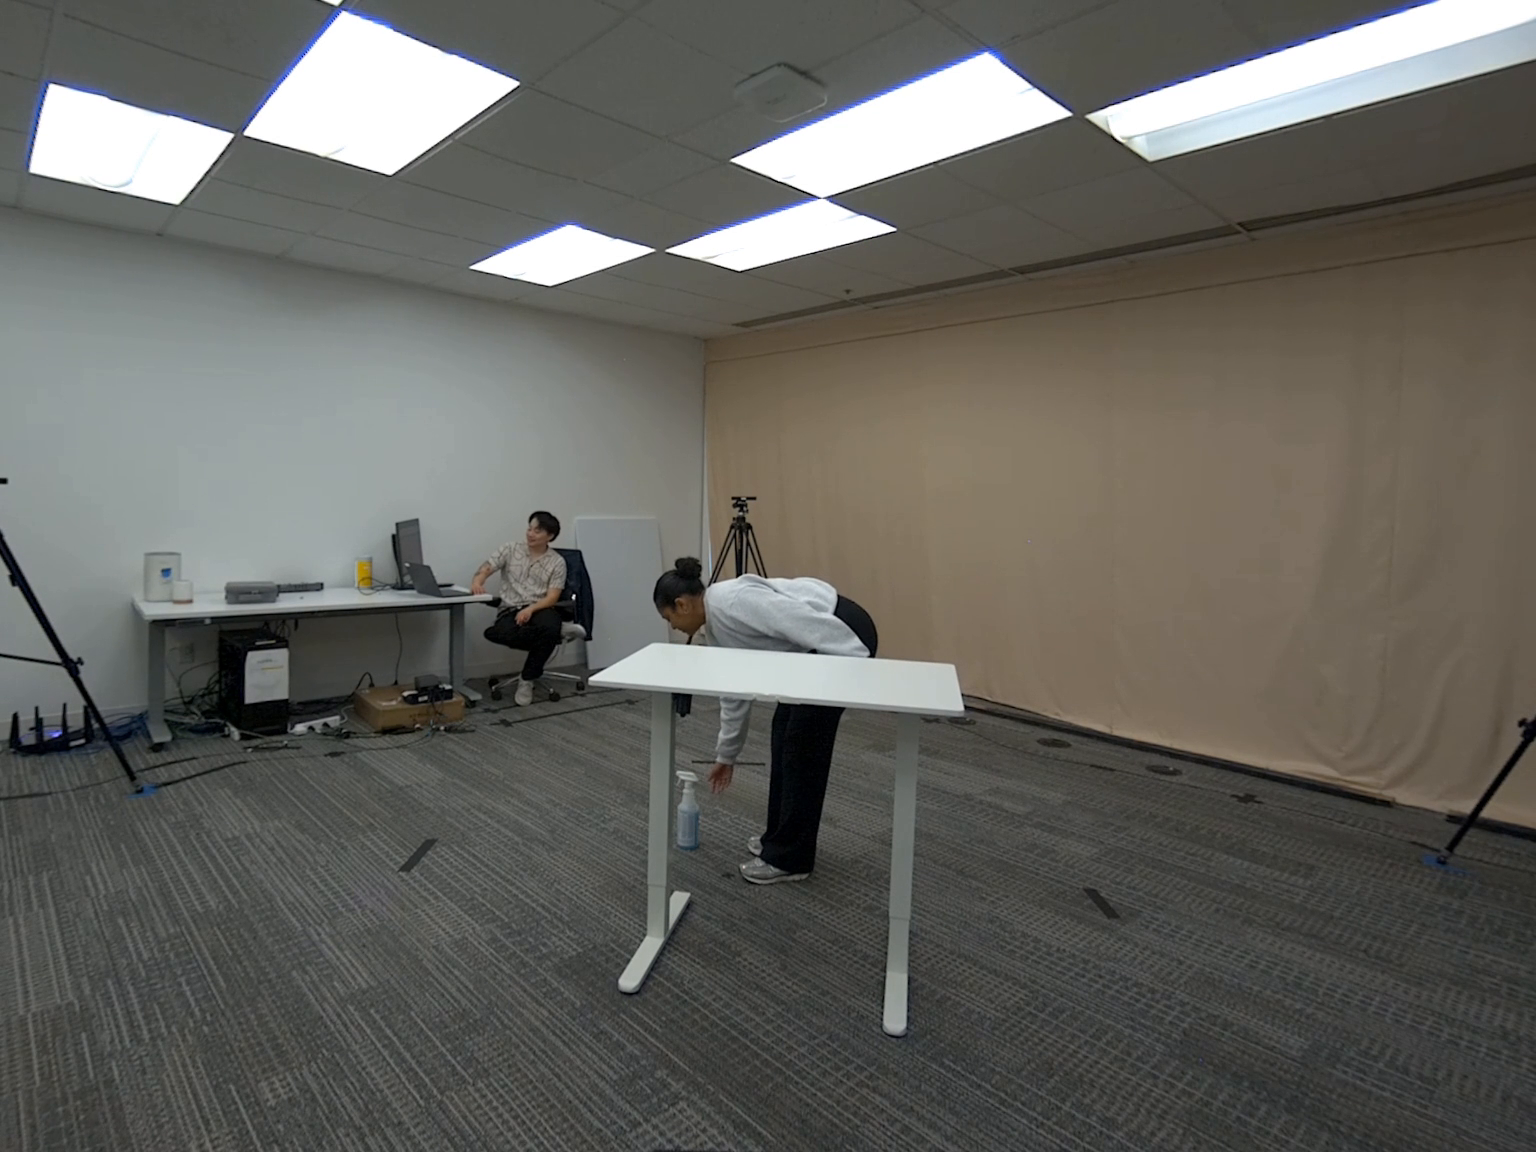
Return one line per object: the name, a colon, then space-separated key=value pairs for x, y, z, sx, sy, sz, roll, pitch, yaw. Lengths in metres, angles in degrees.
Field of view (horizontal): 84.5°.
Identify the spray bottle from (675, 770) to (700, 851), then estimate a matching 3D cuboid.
spray bottle: x=-0.320 y=0.933 z=3.360 sx=0.092 sy=0.296 sz=0.085 roll=4 pitch=5 yaw=37
